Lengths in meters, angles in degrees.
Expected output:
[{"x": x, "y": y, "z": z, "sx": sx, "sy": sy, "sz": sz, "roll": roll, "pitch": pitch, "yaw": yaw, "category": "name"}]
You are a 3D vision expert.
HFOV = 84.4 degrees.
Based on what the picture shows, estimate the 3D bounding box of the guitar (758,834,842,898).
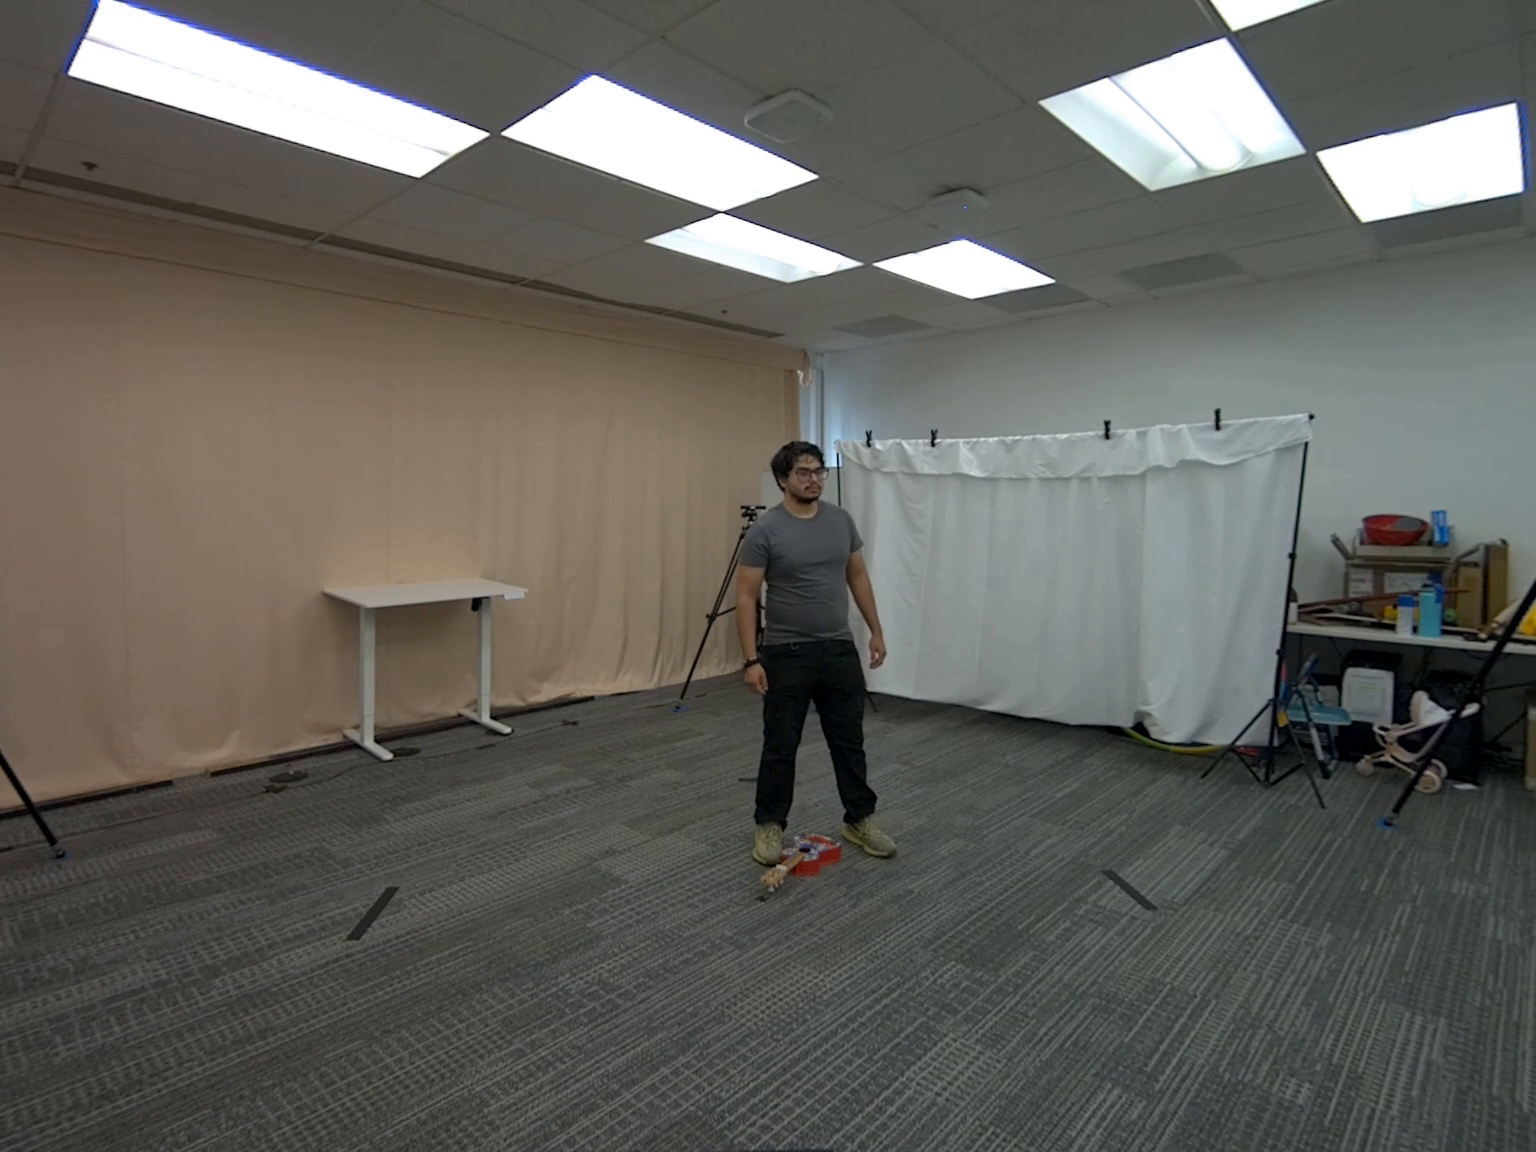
[{"x": 0.087, "y": 1.091, "z": 3.209, "sx": 0.199, "sy": 0.070, "sz": 0.483, "roll": 4, "pitch": 6, "yaw": 38, "category": "guitar"}]
